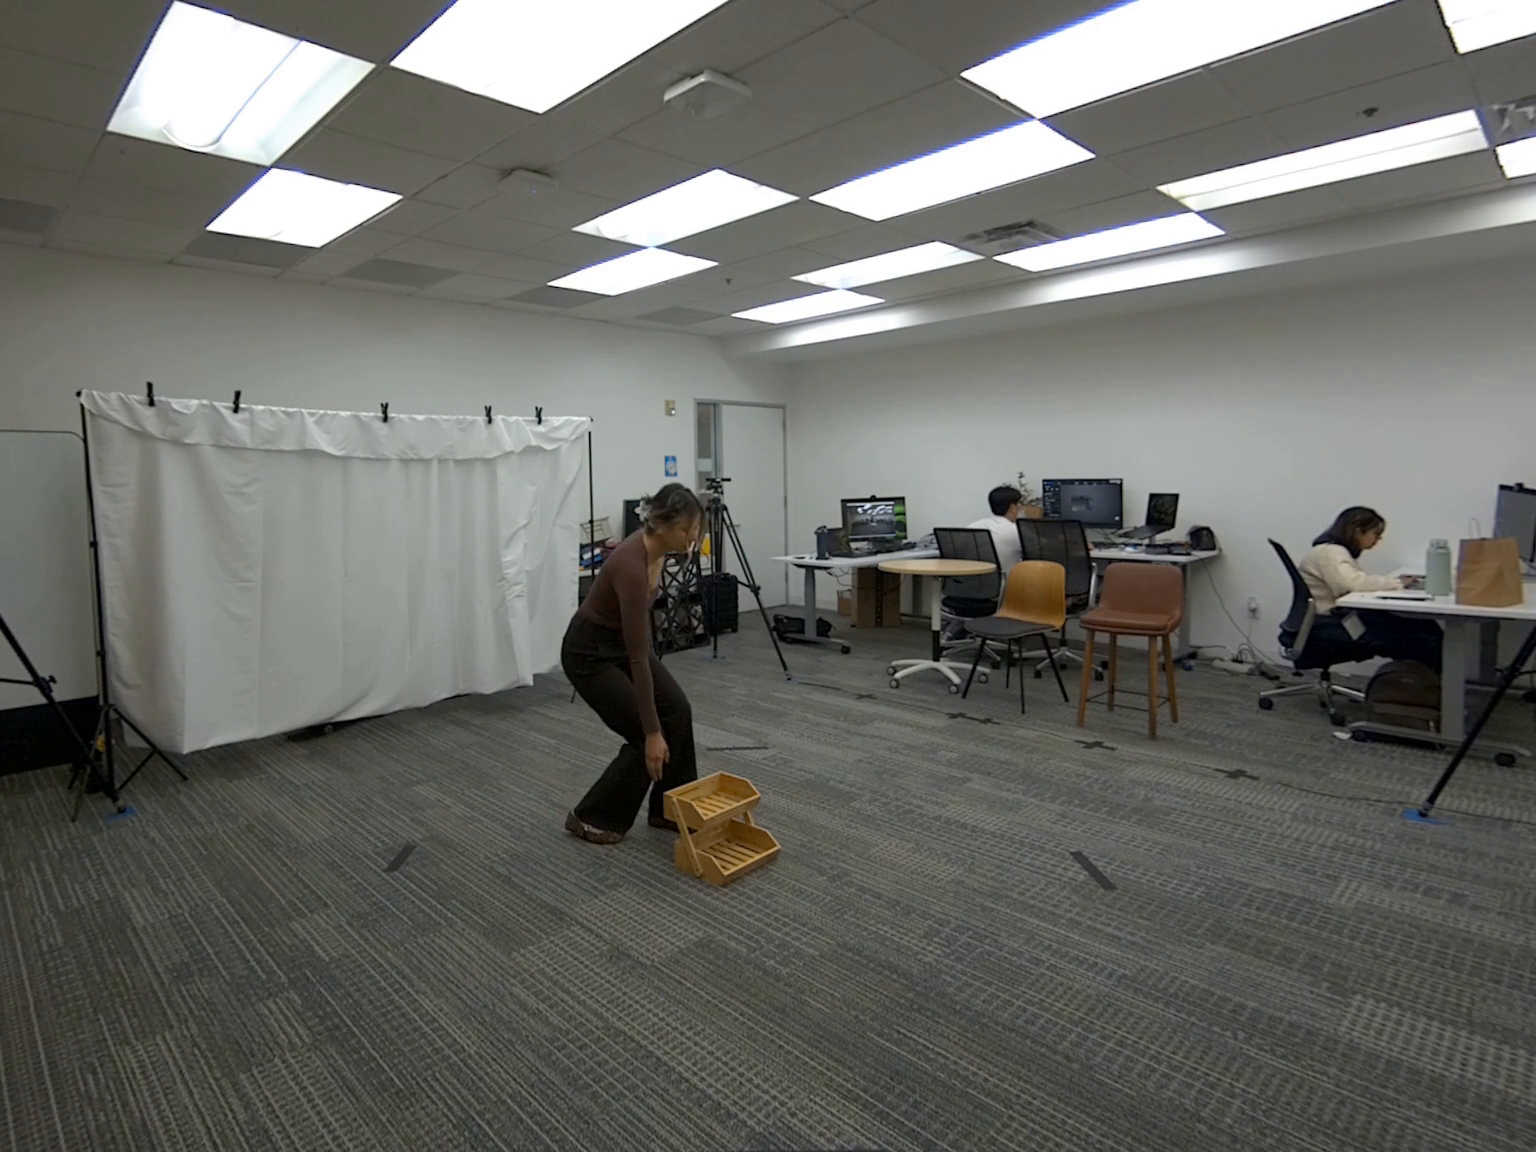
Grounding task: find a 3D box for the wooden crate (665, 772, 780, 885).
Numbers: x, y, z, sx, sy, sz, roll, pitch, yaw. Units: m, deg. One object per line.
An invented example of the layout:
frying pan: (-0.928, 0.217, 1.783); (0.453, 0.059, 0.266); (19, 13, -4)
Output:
wooden crate: (-0.163, 0.908, 3.116); (0.311, 0.272, 0.316); (3, 6, 42)
